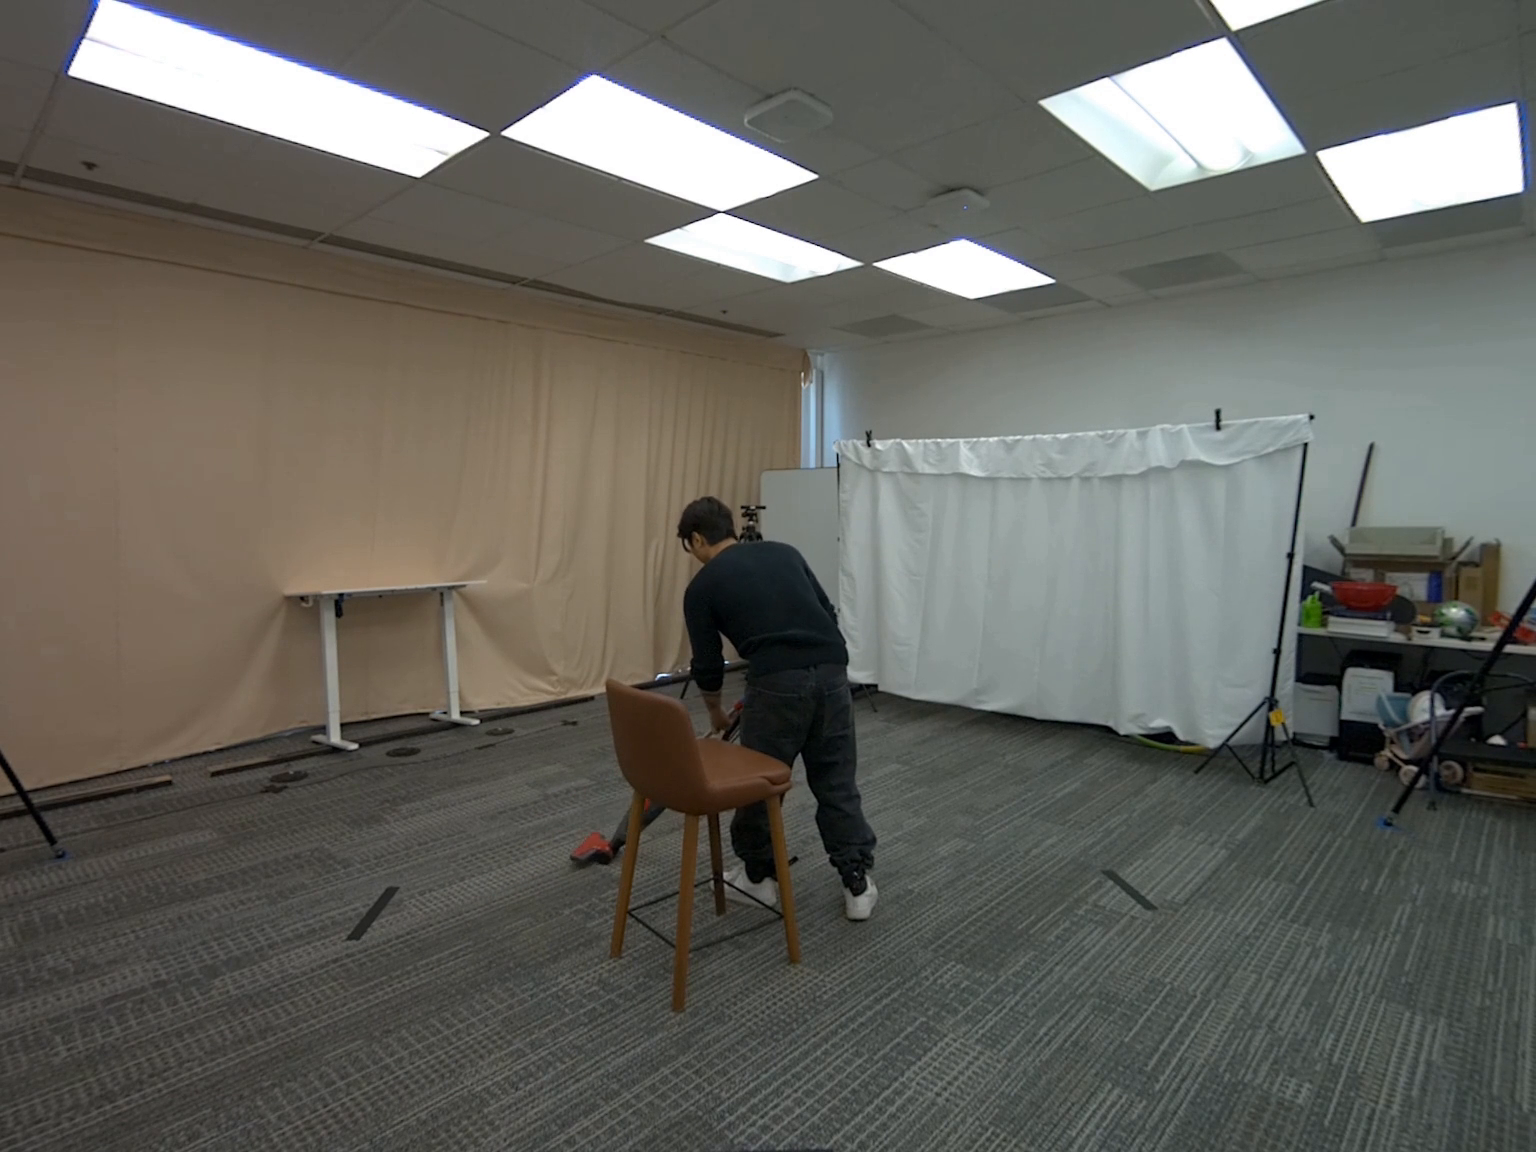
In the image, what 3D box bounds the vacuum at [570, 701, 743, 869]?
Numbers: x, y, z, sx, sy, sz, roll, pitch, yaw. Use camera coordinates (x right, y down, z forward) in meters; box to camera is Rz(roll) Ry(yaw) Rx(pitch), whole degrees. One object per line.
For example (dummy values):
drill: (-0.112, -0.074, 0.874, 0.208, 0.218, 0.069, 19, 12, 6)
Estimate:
vacuum: (-0.315, 0.740, 3.258, 1.053, 0.145, 0.249, -44, -8, 10)
